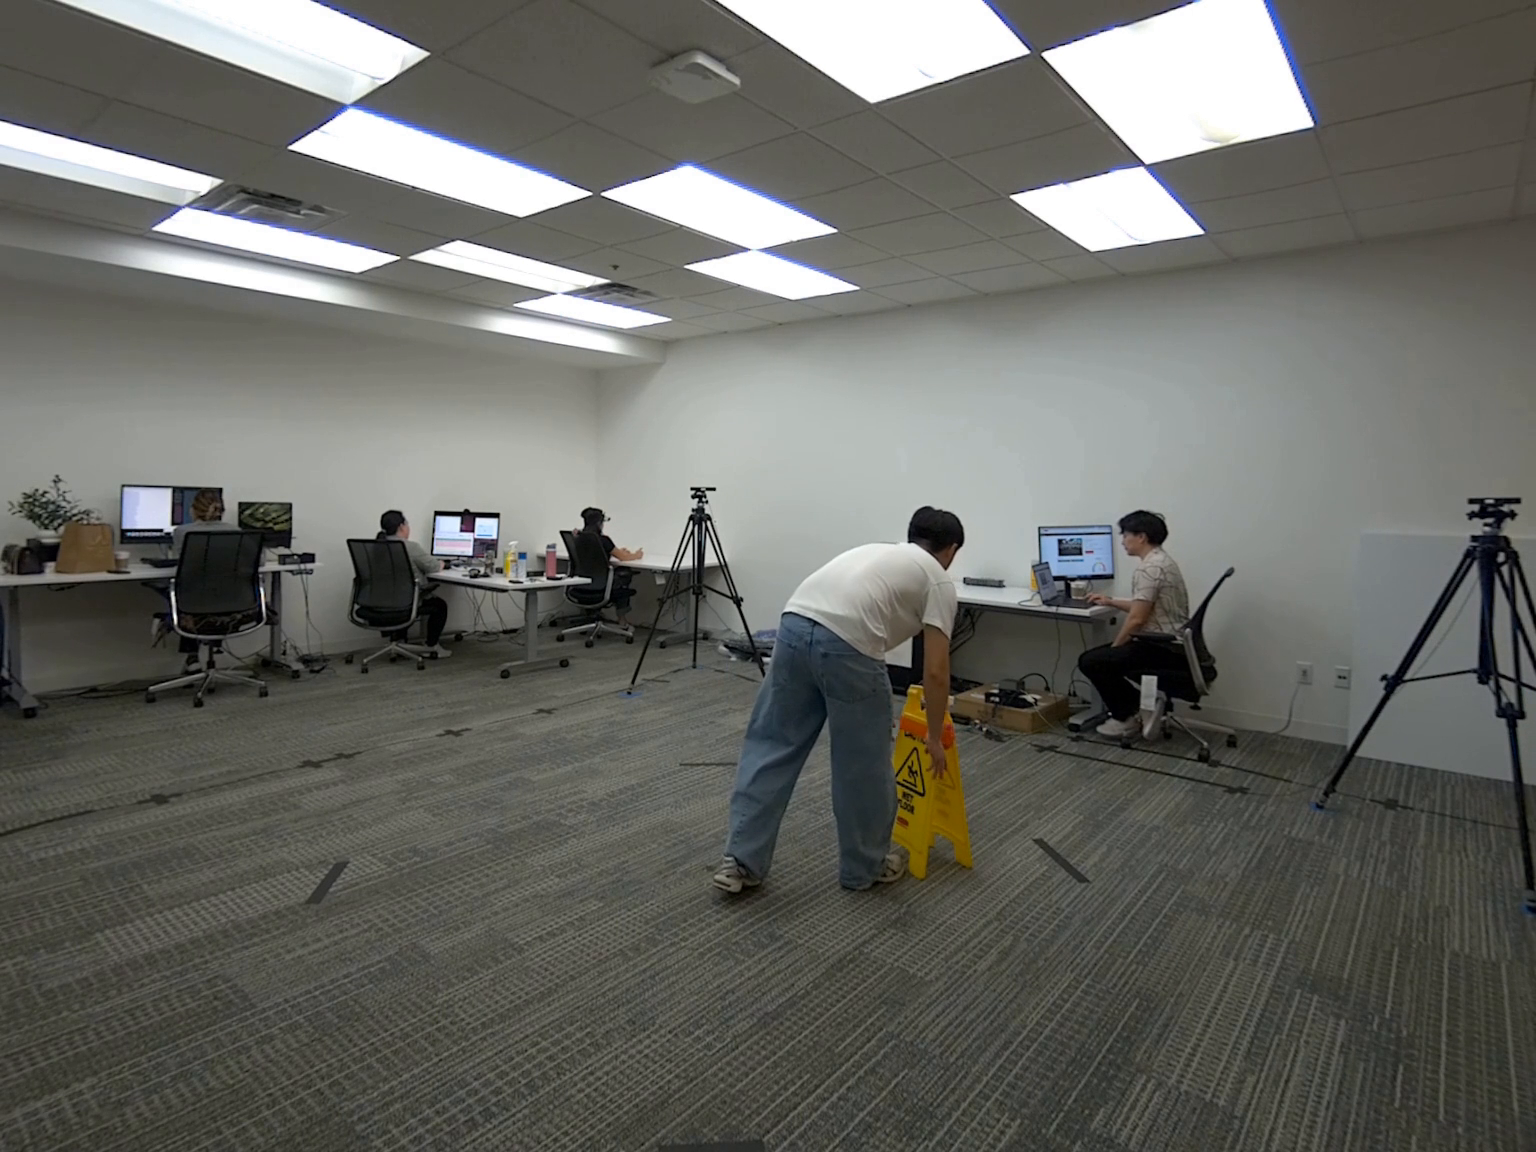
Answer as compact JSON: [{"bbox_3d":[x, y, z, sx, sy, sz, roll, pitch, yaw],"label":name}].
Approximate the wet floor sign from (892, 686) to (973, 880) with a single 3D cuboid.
[{"bbox_3d":[0.588,0.748,3.218,0.282,0.644,0.291,1,3,-29],"label":"wet floor sign"}]
